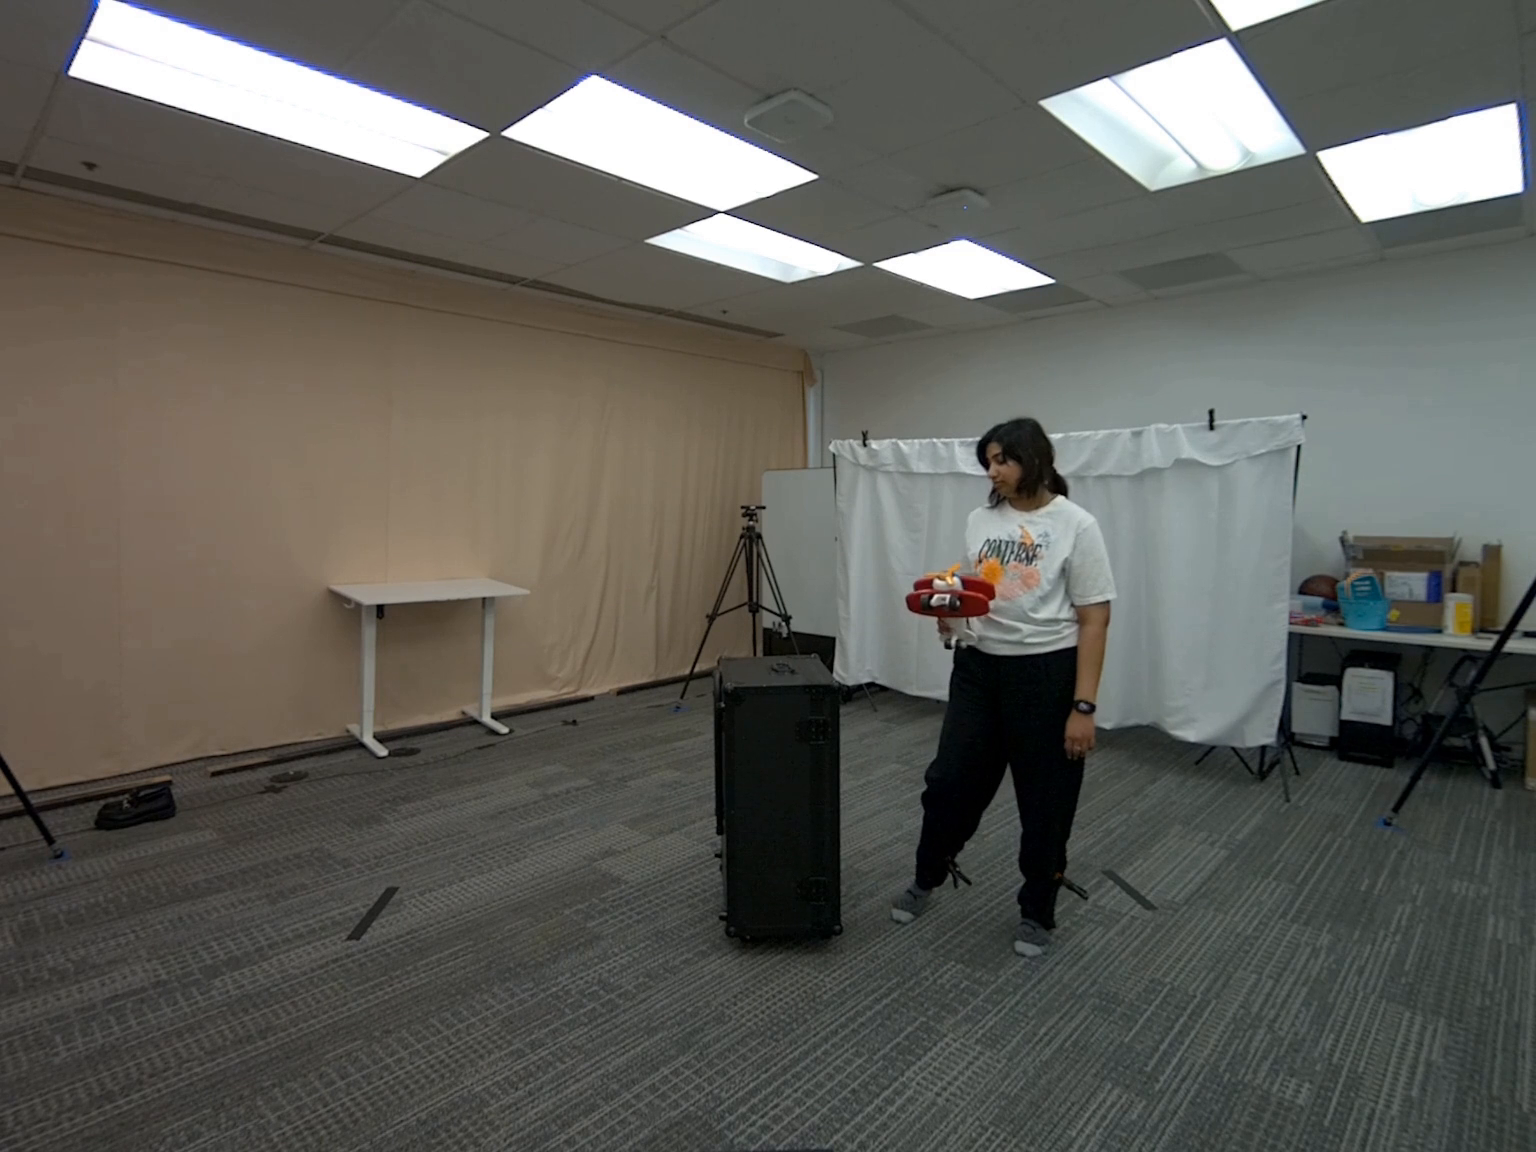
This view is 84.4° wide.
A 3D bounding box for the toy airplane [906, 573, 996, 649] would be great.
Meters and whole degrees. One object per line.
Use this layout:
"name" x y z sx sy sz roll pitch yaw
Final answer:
"toy airplane" 0.556 0.104 2.600 0.255 0.156 0.255 19 -38 11
